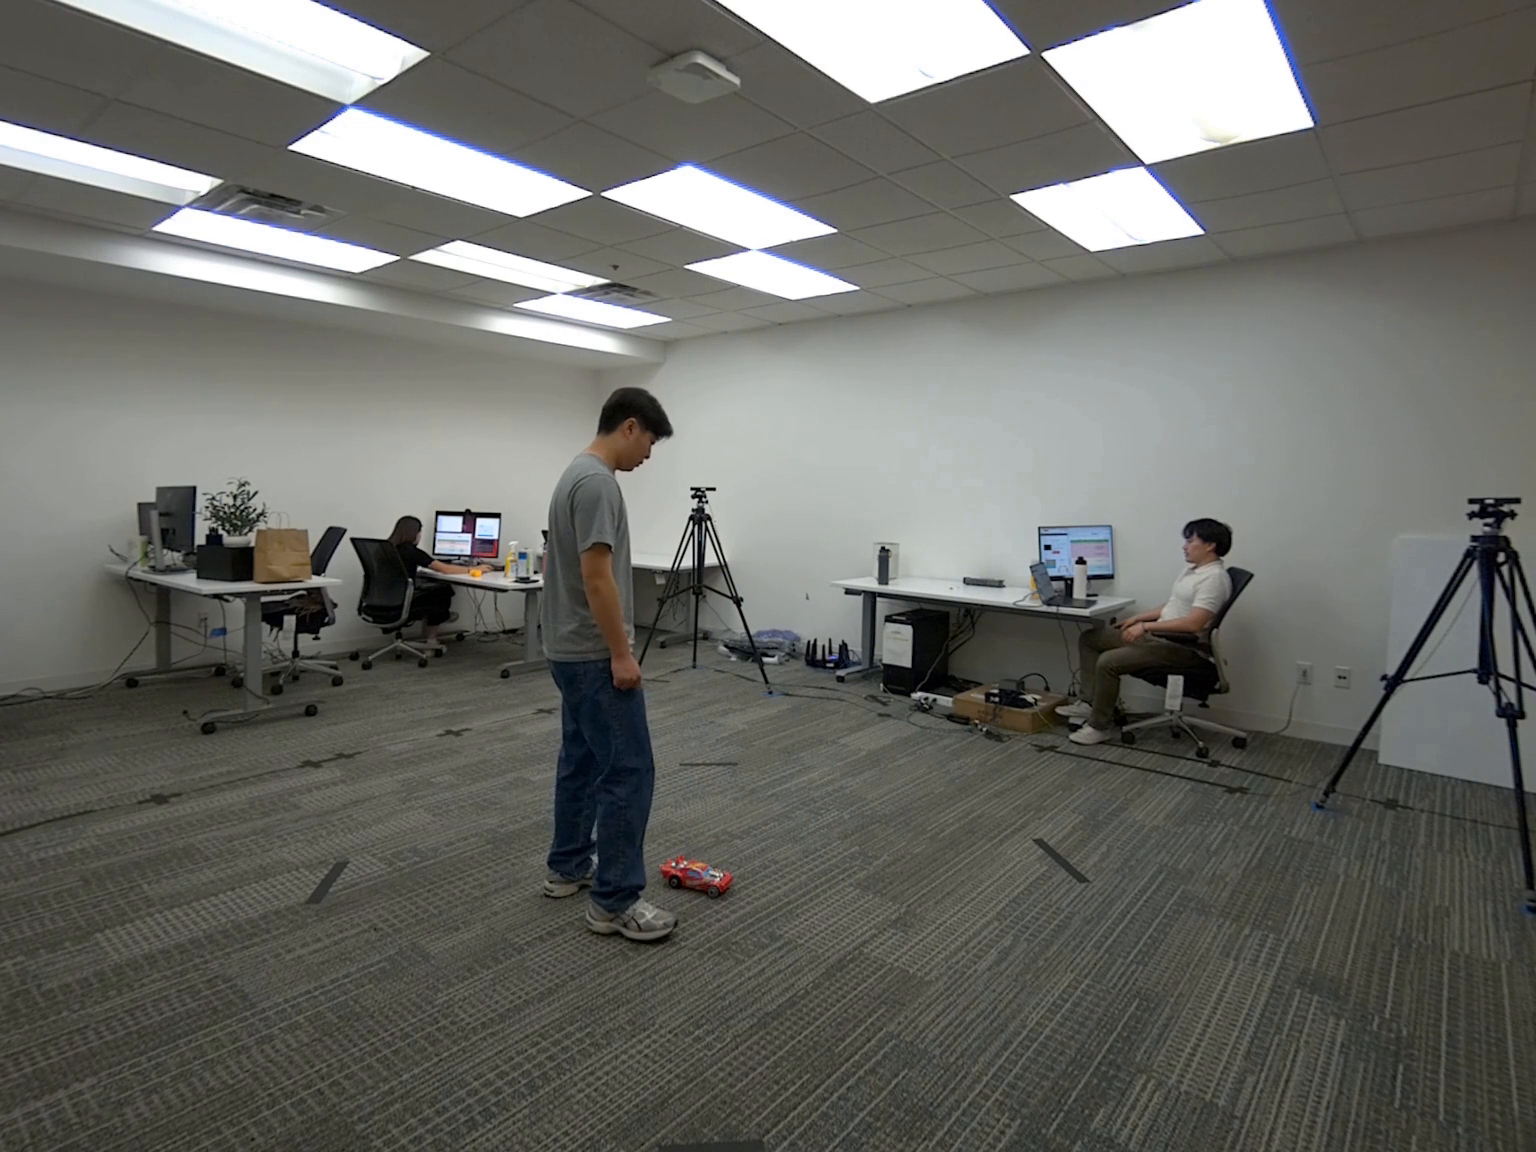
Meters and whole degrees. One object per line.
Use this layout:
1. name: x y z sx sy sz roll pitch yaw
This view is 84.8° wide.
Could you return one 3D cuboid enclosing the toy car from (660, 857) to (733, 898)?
1. toy car: -0.264 1.050 2.965 0.262 0.083 0.127 15 10 23
